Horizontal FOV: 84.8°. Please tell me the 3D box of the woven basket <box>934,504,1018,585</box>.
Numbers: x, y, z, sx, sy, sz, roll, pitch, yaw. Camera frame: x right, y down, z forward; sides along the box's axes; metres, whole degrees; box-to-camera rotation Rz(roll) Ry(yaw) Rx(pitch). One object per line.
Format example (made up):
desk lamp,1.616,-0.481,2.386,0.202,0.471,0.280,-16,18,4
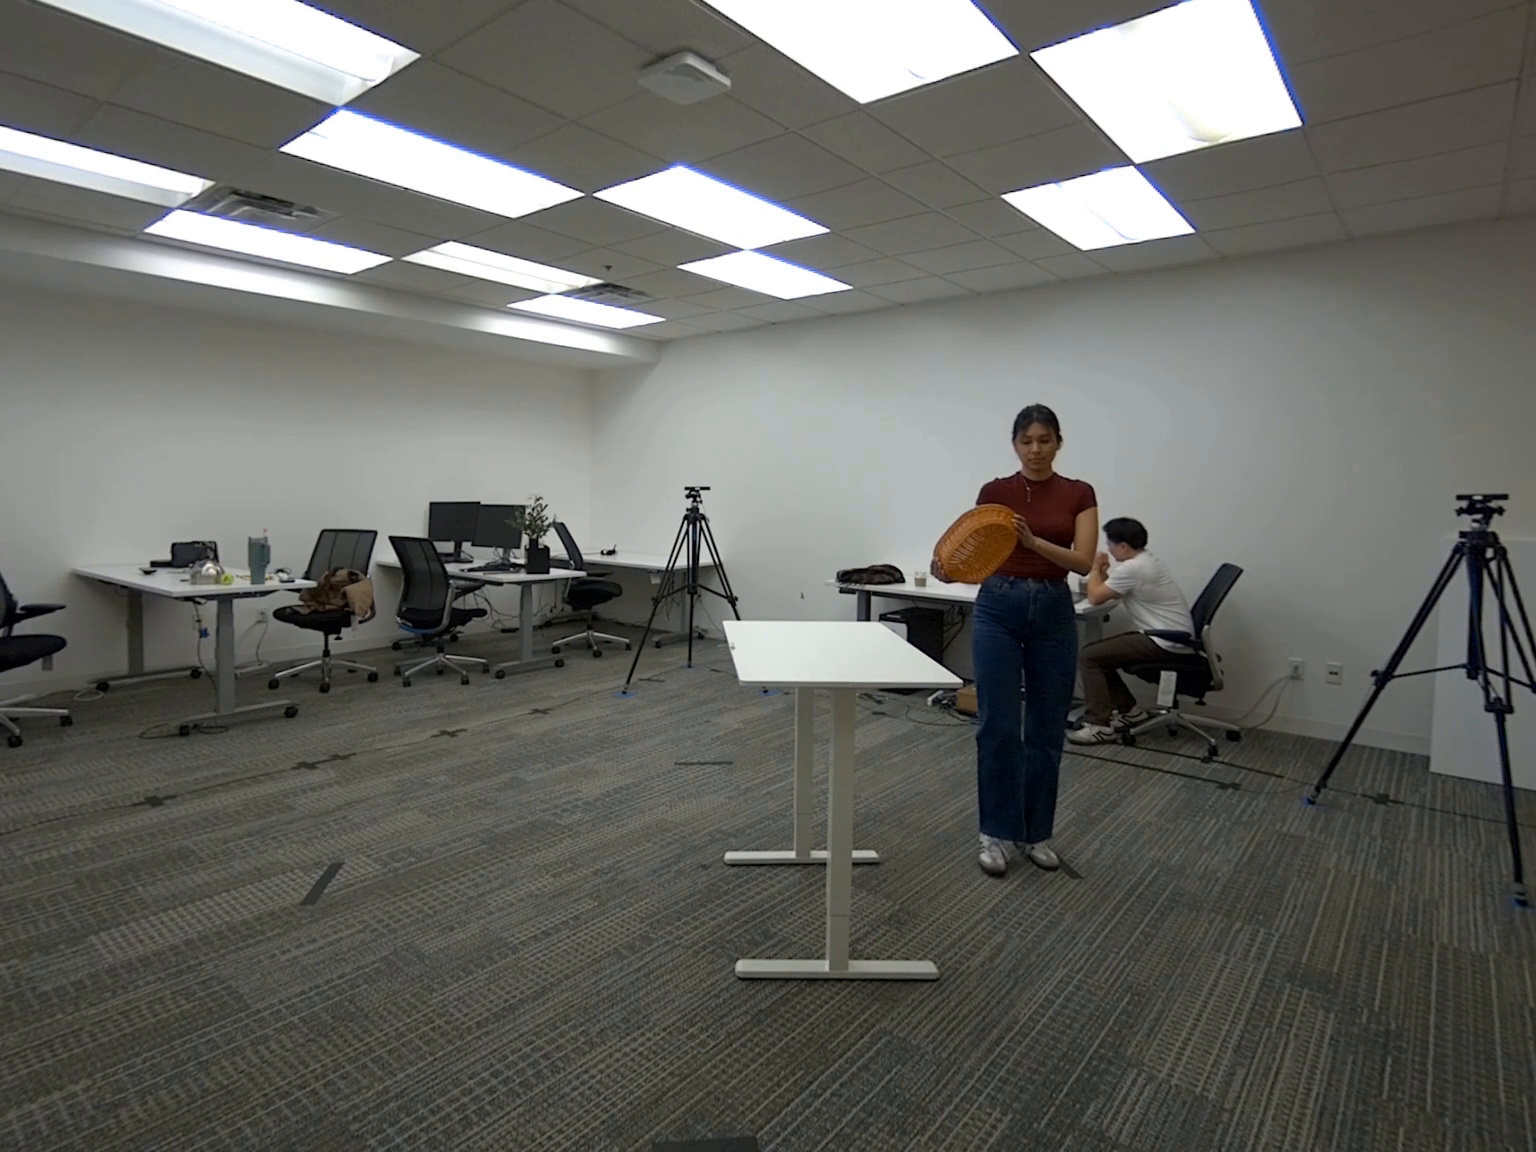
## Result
woven basket,0.735,-0.094,3.001,0.248,0.348,0.075,25,33,-14
